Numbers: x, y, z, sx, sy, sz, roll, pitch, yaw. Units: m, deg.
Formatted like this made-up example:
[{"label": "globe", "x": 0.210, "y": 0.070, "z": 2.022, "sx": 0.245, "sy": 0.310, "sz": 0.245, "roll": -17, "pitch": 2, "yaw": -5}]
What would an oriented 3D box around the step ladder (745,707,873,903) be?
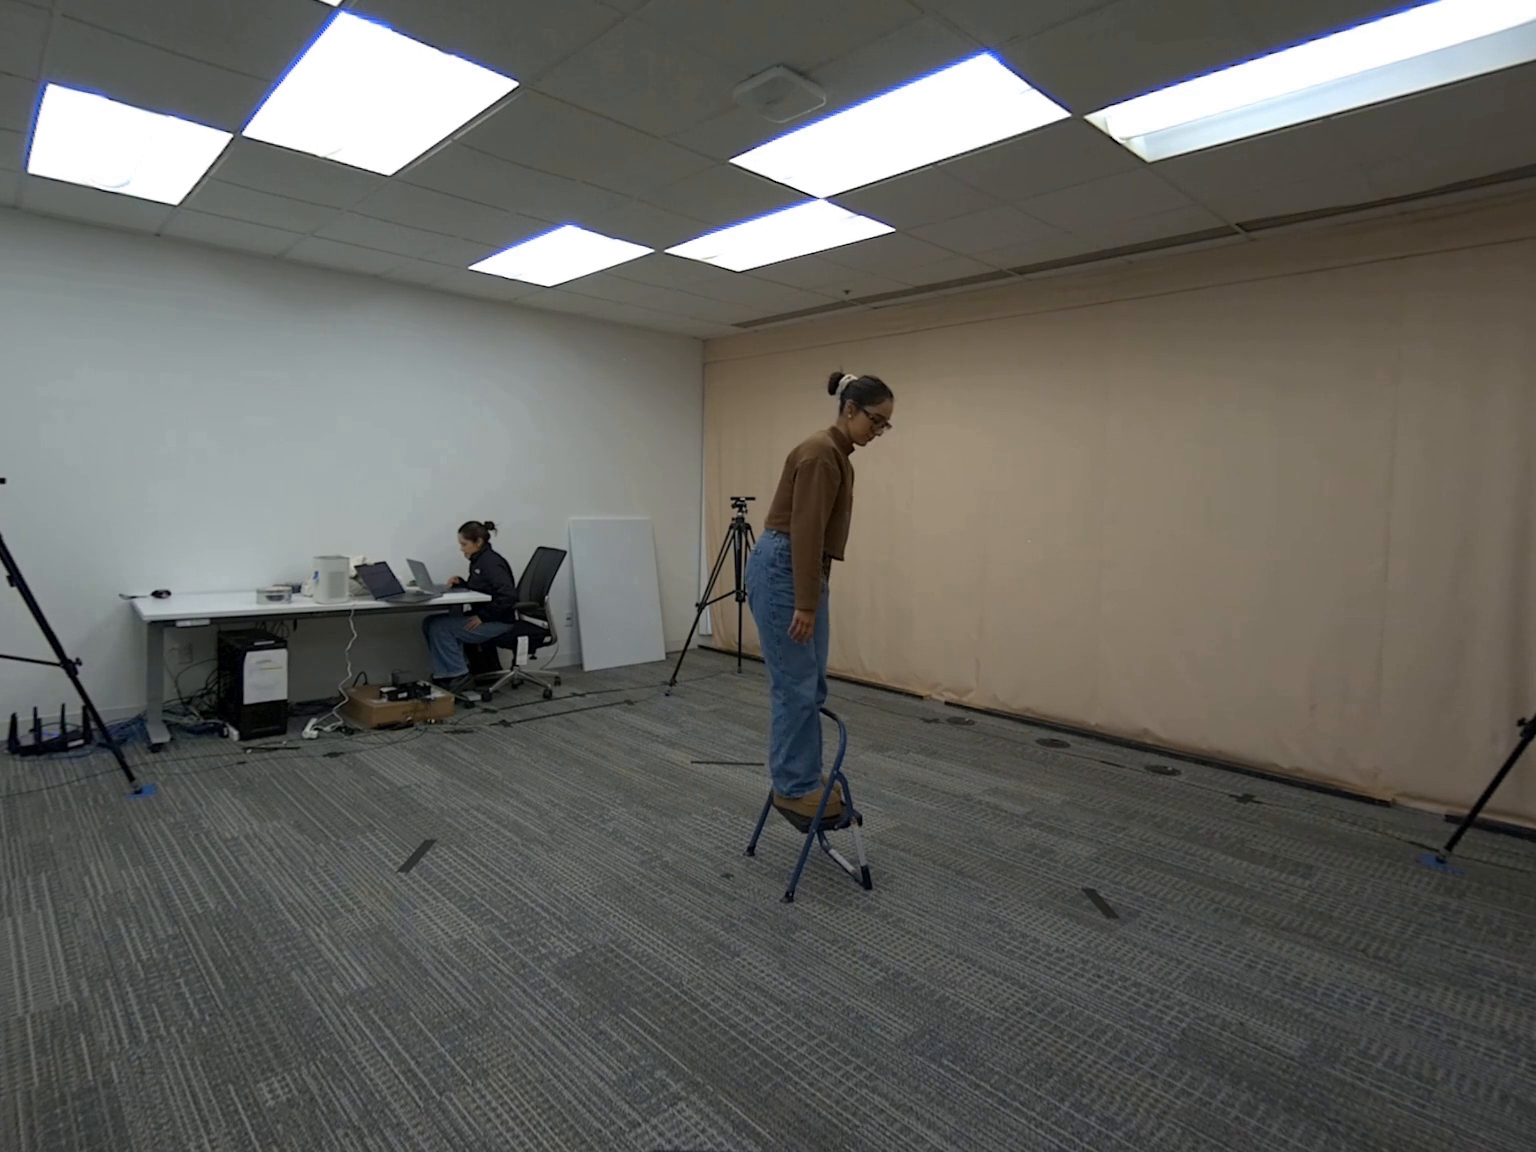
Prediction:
[{"label": "step ladder", "x": 0.145, "y": 0.812, "z": 3.138, "sx": 0.344, "sy": 0.605, "sz": 0.438, "roll": 0, "pitch": 4, "yaw": -21}]
